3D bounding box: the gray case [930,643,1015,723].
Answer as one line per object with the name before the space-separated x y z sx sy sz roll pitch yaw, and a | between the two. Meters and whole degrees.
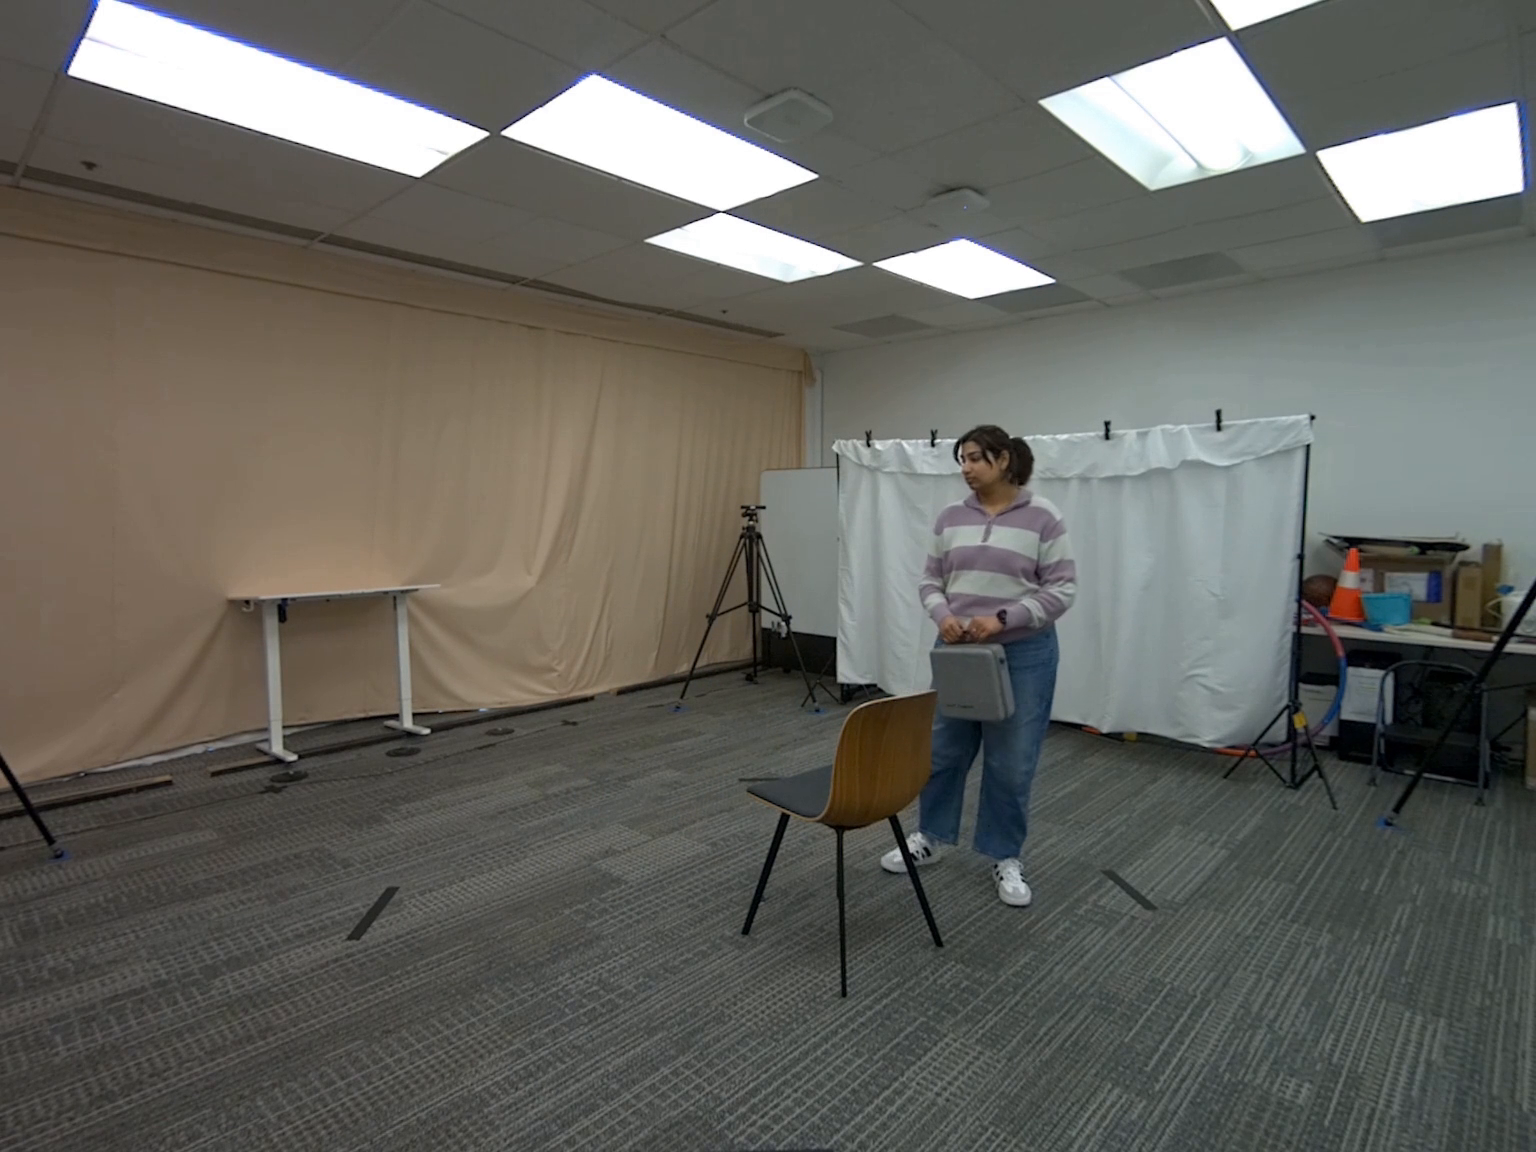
gray case | 0.686 0.353 2.871 0.101 0.260 0.264 -11 4 -40
